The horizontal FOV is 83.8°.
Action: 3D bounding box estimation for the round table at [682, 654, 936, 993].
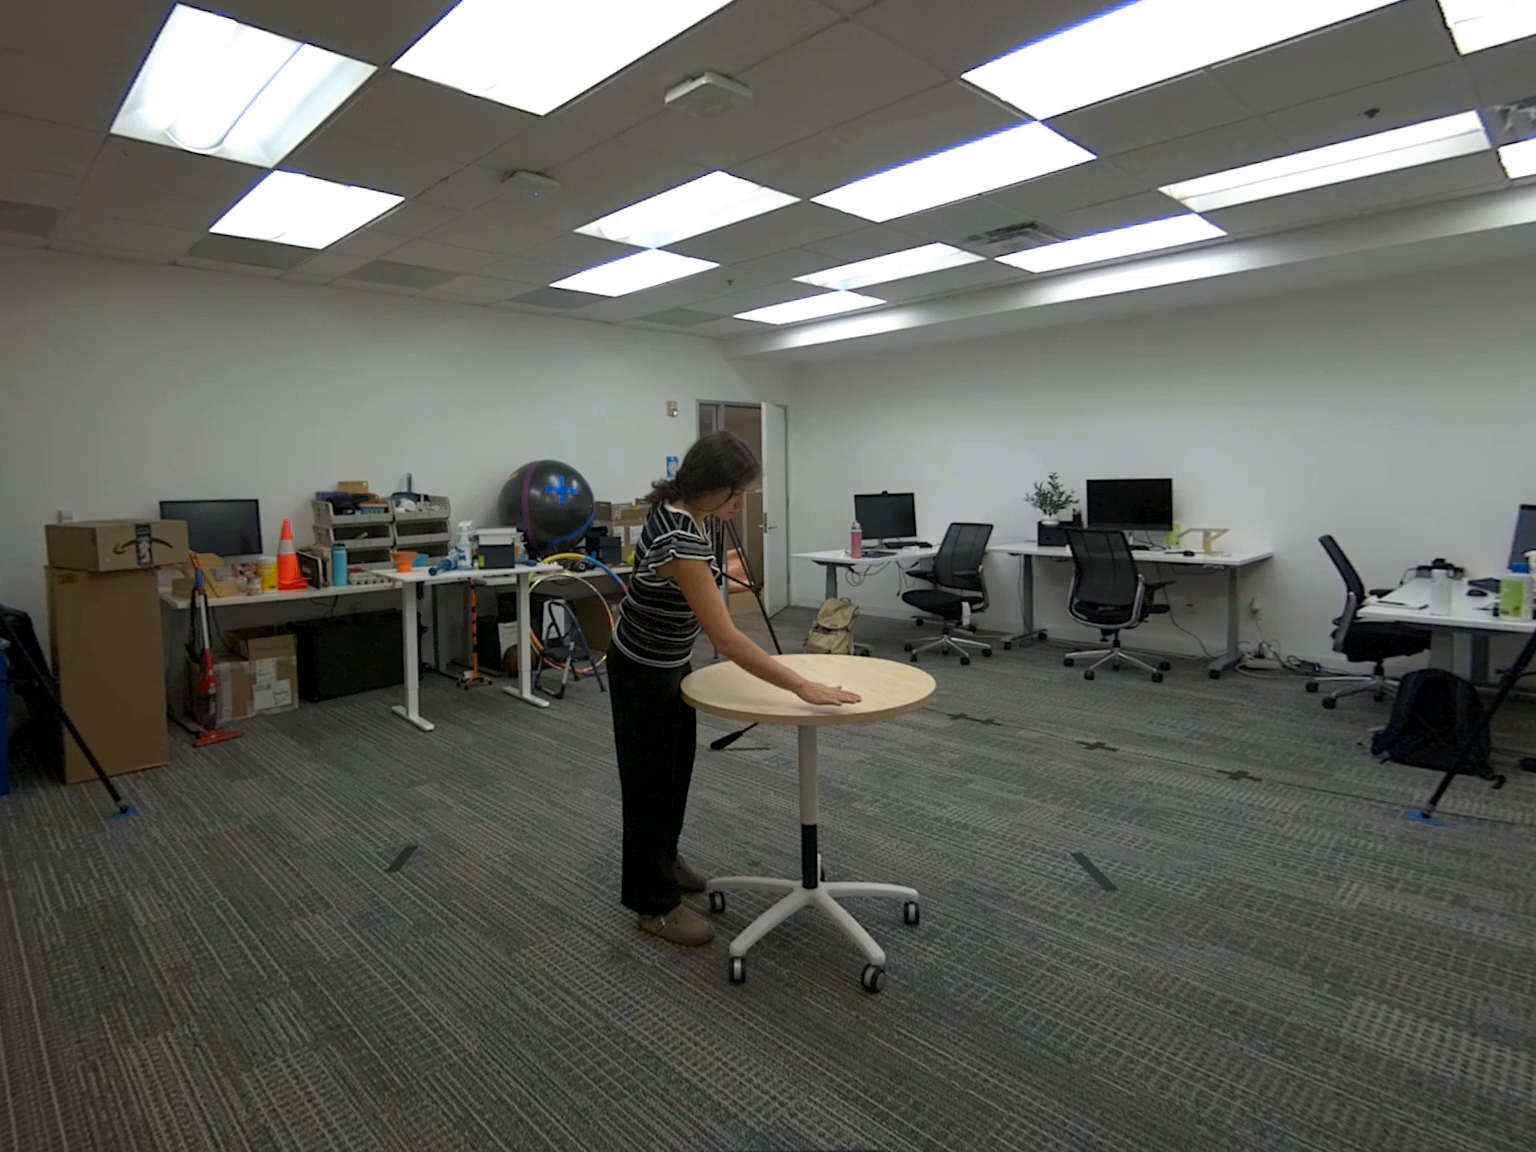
[{"bbox_3d":[0.134,0.708,2.616,0.763,0.791,0.768,-2,5,-2],"label":"round table"}]
